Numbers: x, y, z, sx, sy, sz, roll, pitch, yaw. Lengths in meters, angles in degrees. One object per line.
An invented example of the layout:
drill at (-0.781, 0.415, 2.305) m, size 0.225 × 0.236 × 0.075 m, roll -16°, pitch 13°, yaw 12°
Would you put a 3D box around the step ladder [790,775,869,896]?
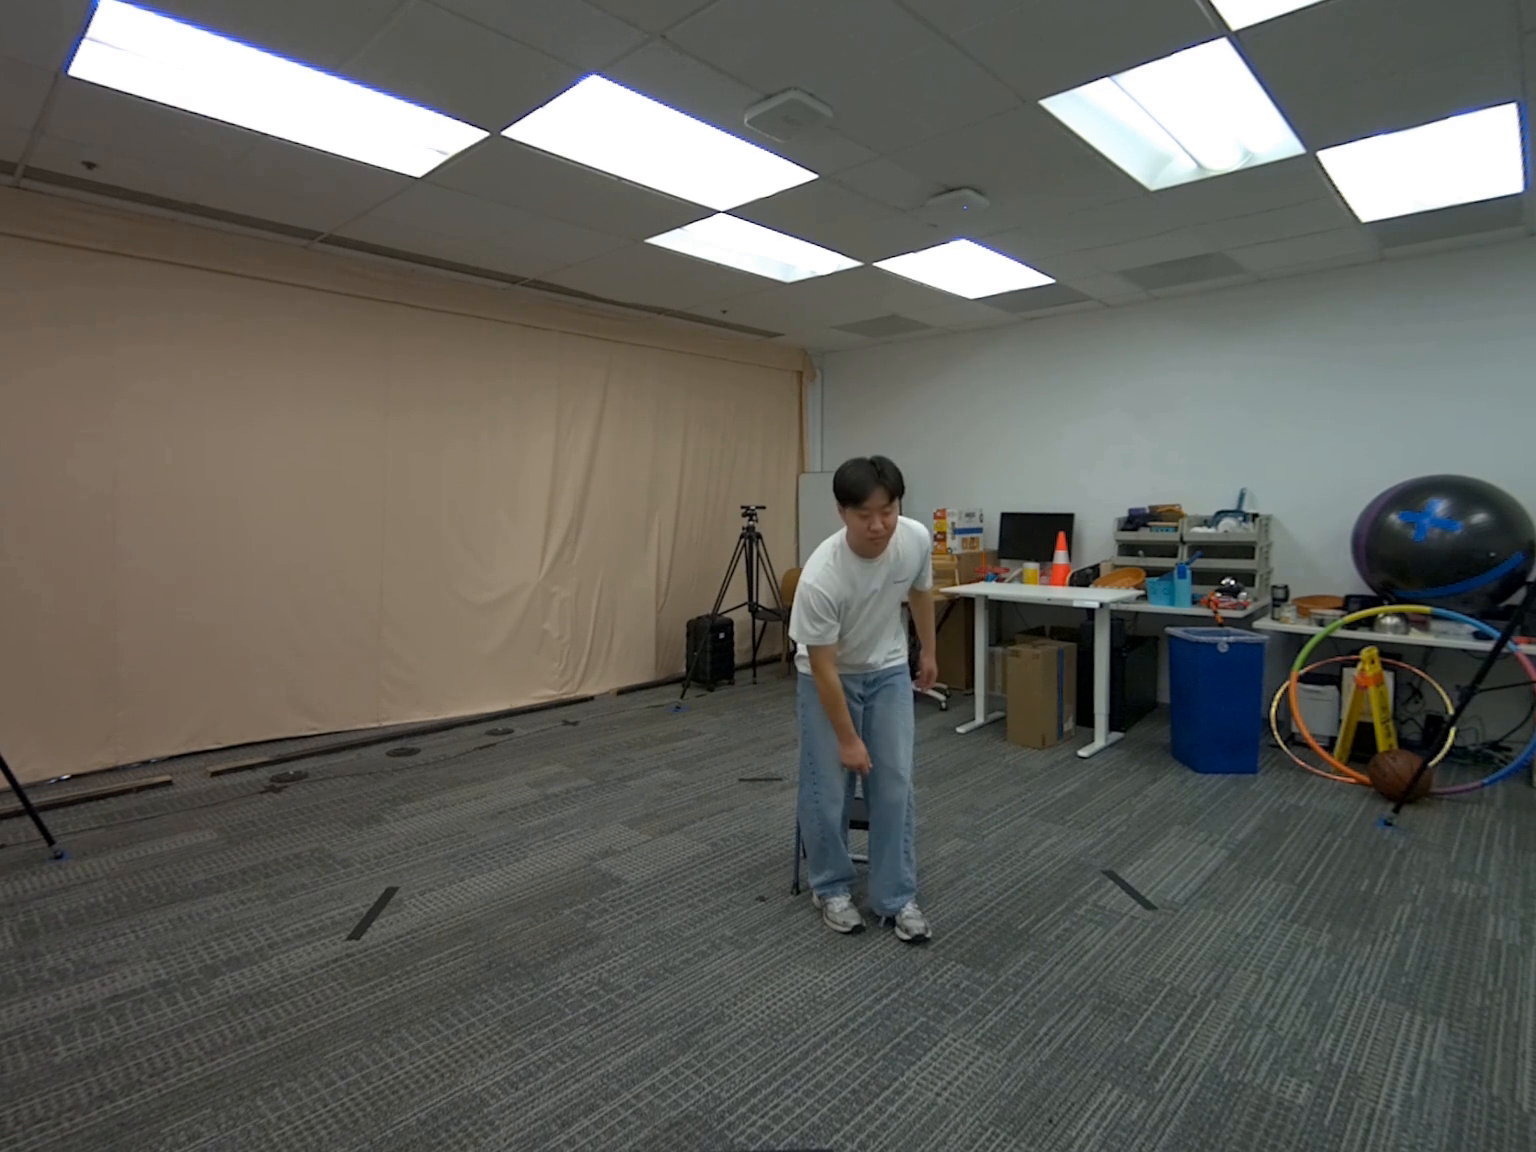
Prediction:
step ladder at (0.328, 0.826, 3.125) m, size 0.436 × 0.605 × 0.346 m, roll 1°, pitch 3°, yaw 11°
